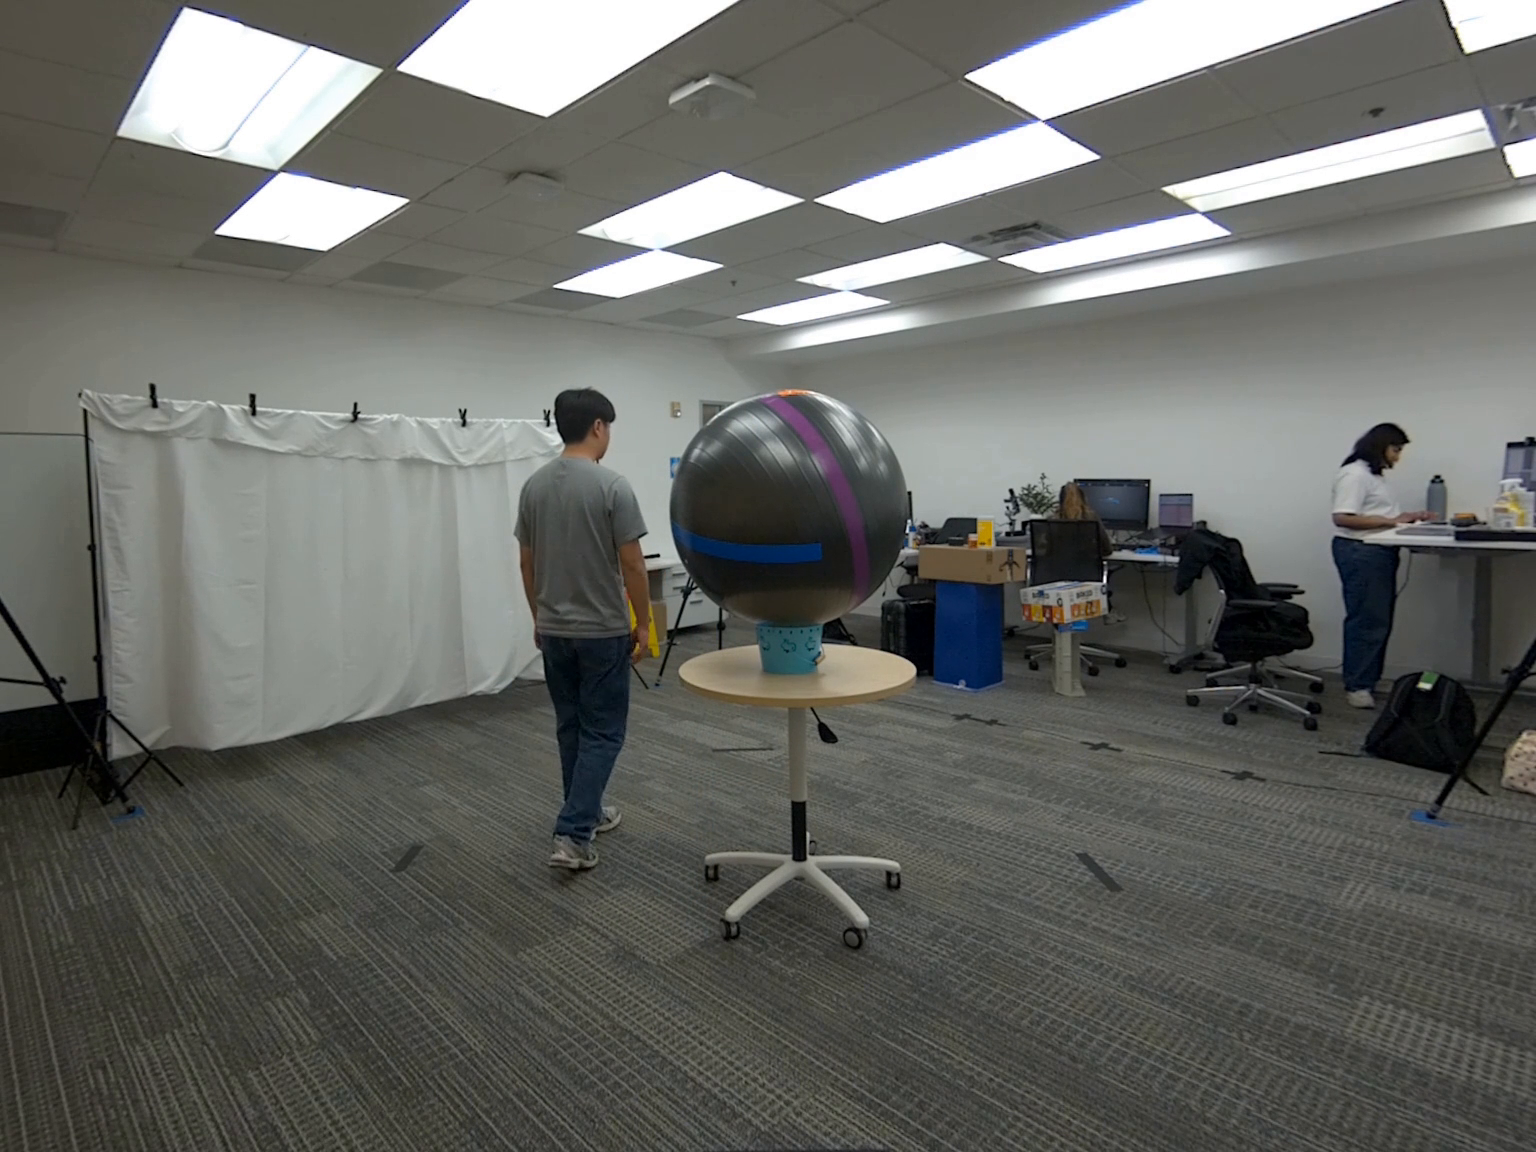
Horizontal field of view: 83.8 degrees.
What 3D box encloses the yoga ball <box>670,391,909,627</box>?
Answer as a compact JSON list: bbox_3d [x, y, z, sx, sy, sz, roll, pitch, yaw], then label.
[{"bbox_3d":[0.067,-0.209,2.736,0.757,0.755,0.762,-1,5,-2],"label":"yoga ball"}]
